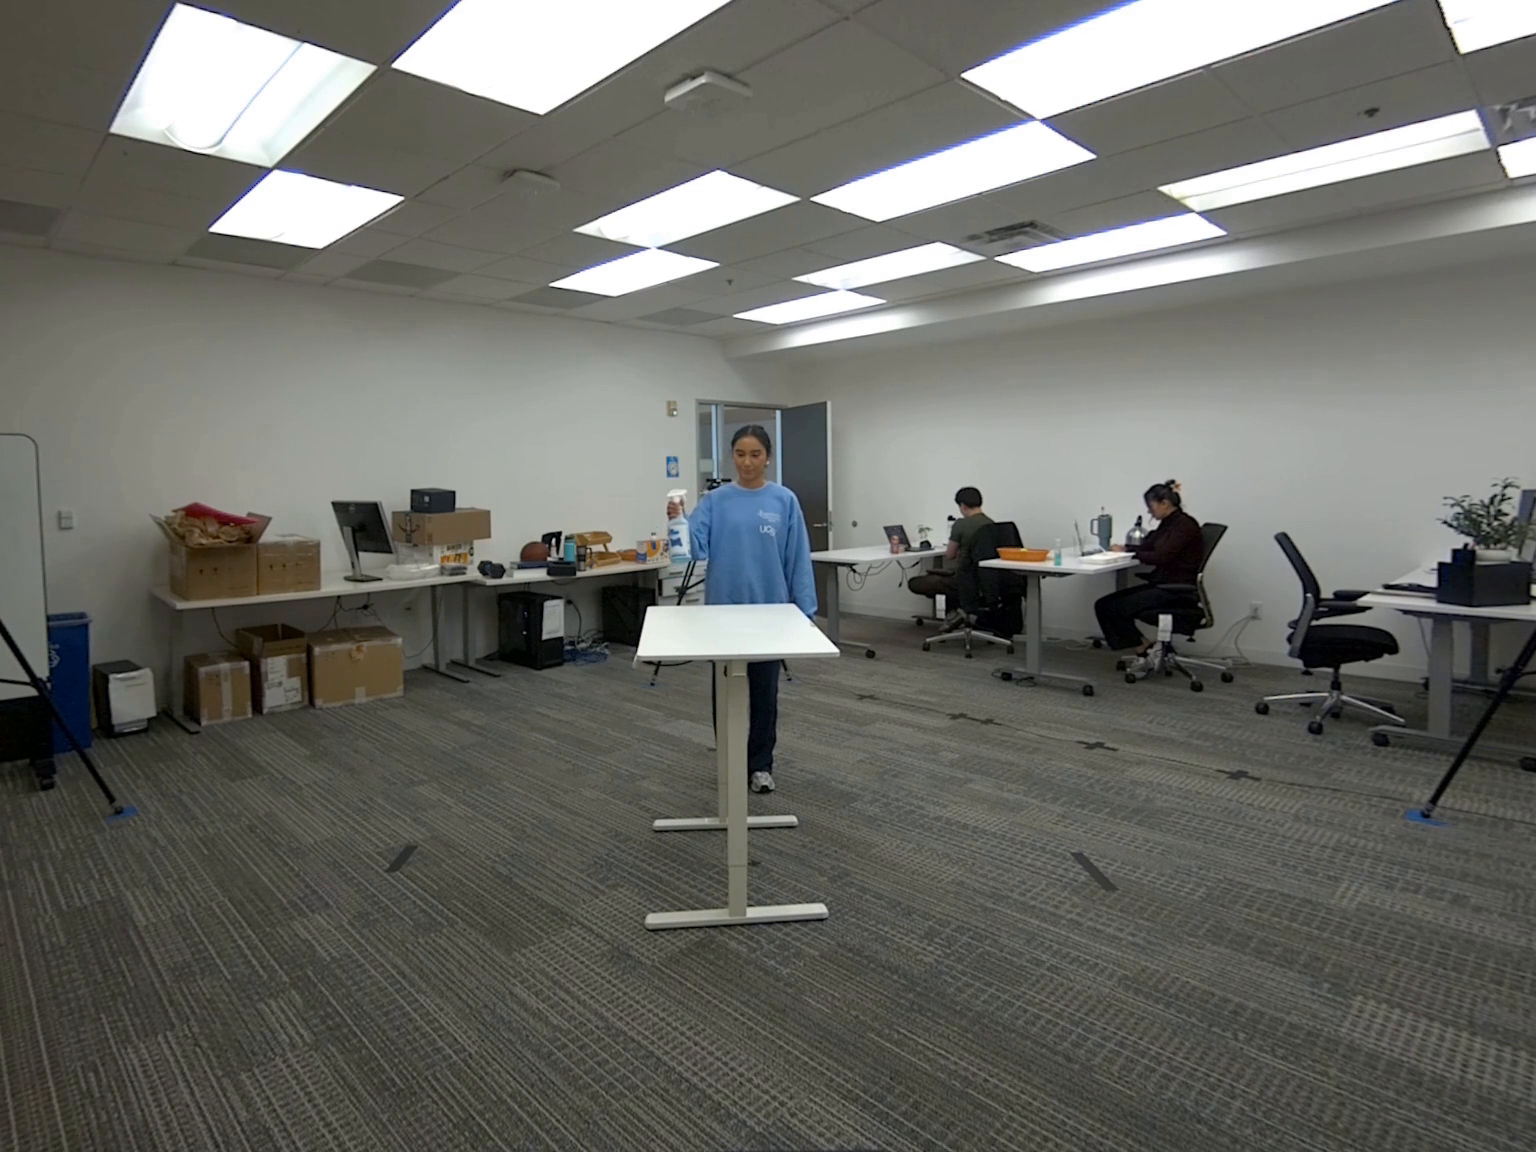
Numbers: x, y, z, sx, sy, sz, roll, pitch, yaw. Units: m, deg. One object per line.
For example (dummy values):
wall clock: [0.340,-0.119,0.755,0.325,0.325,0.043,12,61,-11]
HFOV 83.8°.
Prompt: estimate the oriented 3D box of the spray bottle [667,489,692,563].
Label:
spray bottle: [-0.370,-0.204,3.464,0.089,0.298,0.087,-1,-4,-7]
